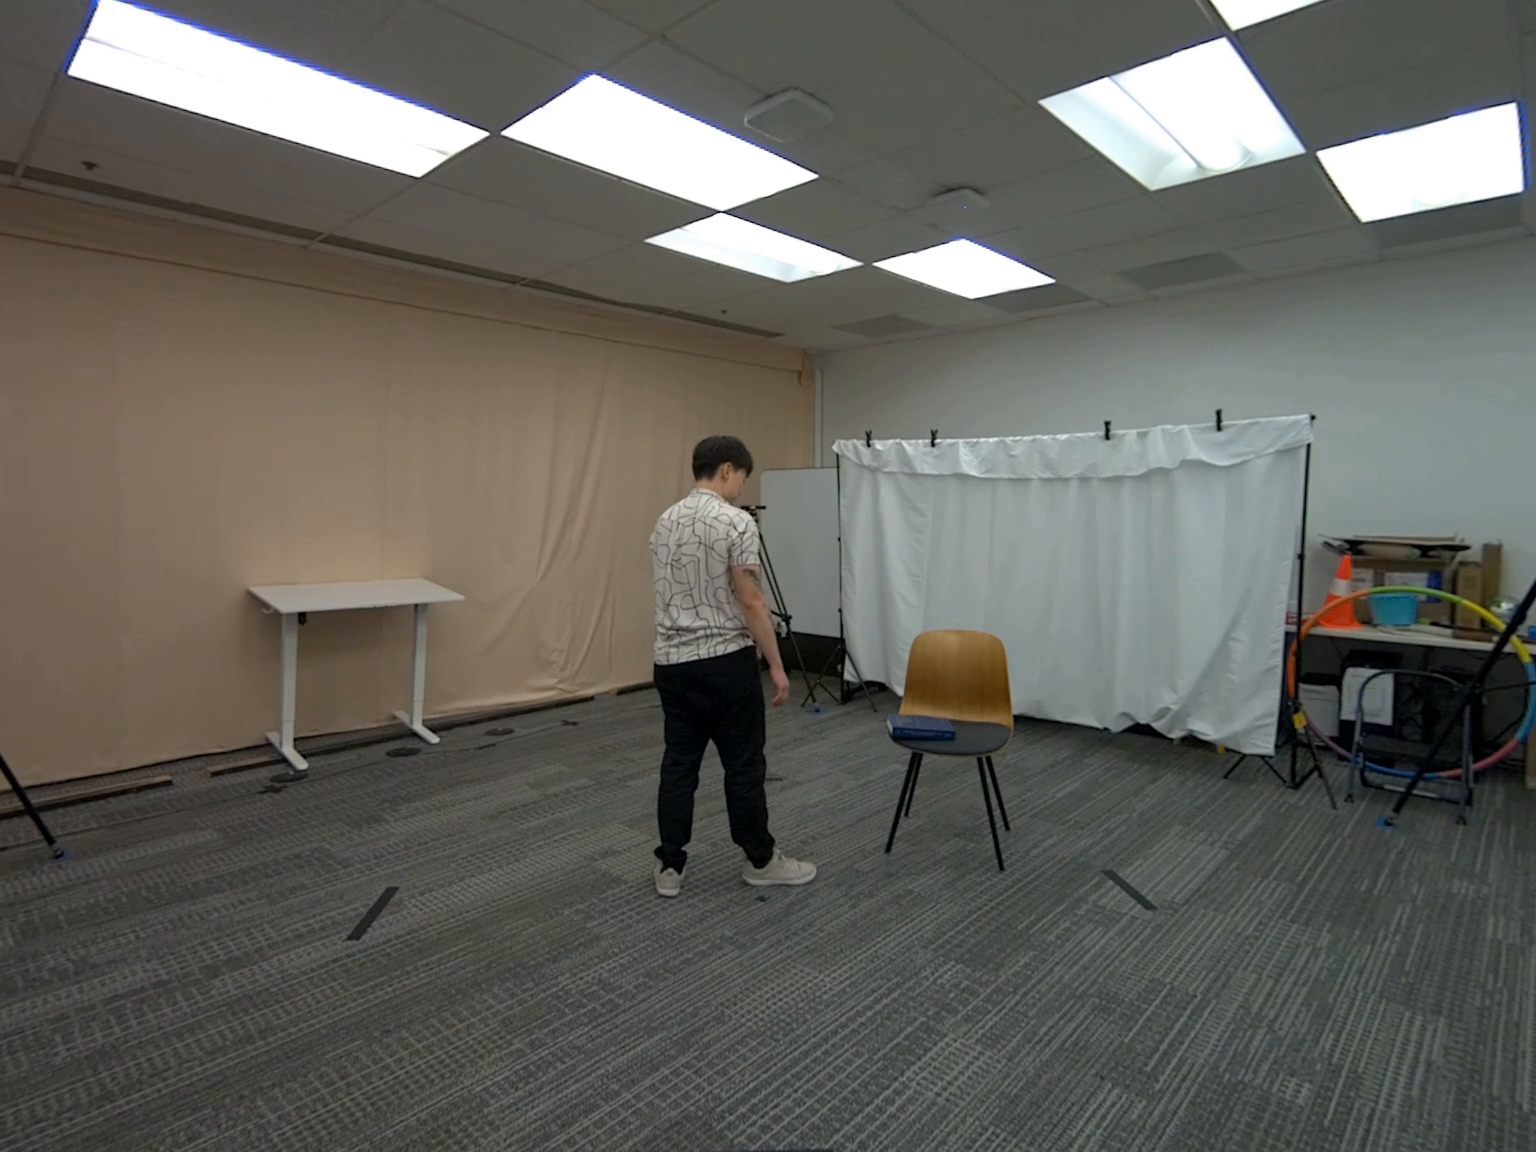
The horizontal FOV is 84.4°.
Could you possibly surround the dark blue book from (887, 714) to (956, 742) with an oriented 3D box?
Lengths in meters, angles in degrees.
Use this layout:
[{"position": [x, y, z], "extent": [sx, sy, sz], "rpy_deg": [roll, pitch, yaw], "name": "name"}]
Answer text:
[{"position": [0.608, 0.602, 3.345], "extent": [0.246, 0.045, 0.164], "rpy_deg": [3, 7, 1], "name": "dark blue book"}]
